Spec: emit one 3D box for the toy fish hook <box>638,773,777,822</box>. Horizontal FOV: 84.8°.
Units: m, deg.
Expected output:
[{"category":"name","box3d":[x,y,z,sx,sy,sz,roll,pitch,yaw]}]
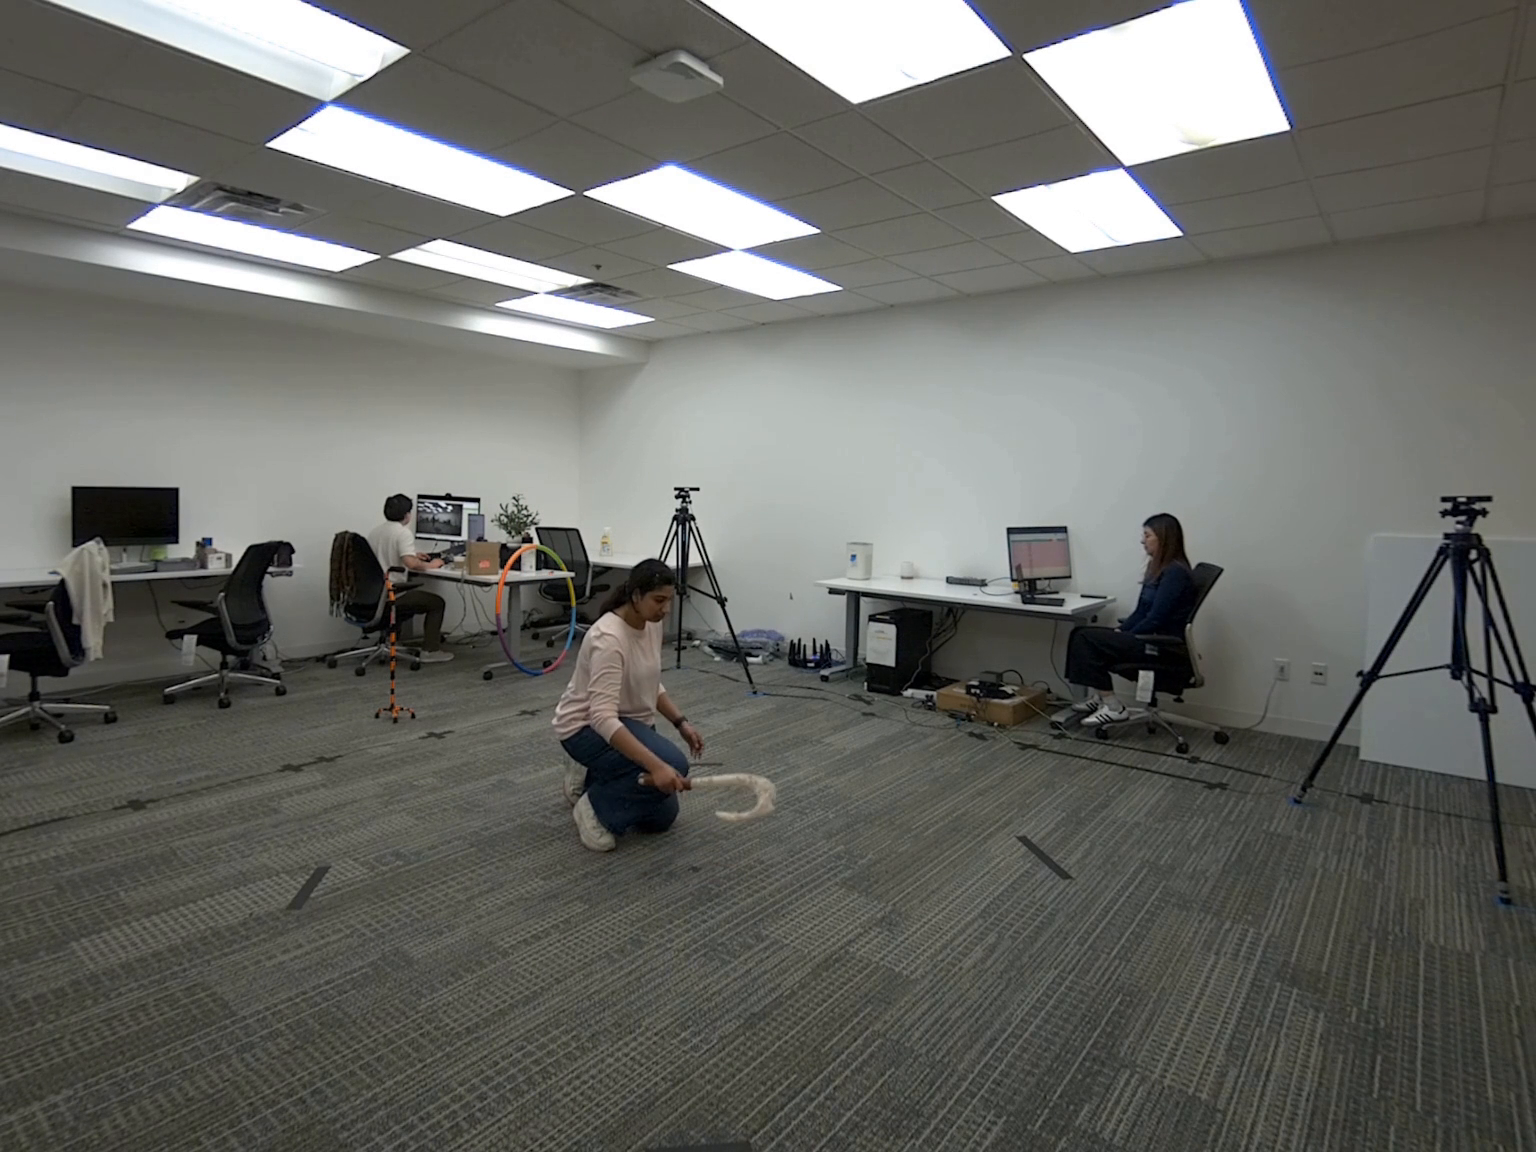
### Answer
[{"category":"toy fish hook","box3d":[-0.238,0.756,2.973,0.512,0.047,0.227,1,25,9]}]
